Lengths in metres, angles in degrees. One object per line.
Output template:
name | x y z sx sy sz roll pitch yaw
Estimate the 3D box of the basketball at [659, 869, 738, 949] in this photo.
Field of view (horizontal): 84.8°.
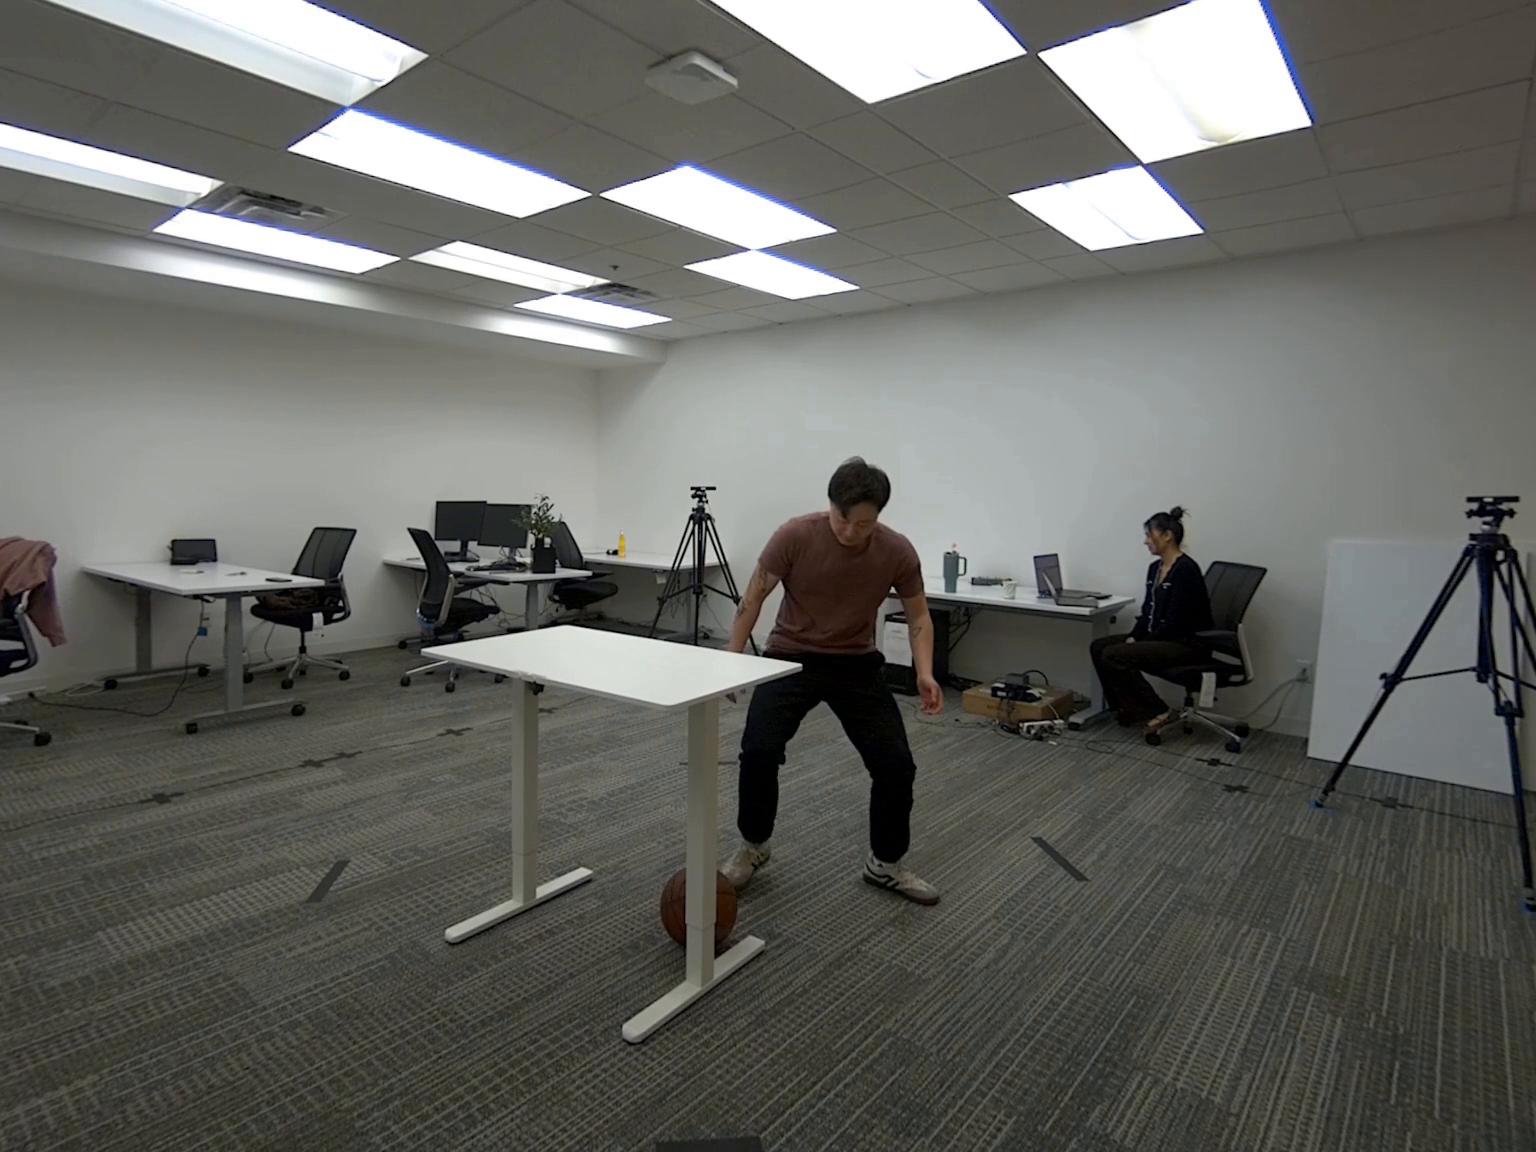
basketball | -0.218 1.003 2.583 0.235 0.235 0.237 1 4 -2
